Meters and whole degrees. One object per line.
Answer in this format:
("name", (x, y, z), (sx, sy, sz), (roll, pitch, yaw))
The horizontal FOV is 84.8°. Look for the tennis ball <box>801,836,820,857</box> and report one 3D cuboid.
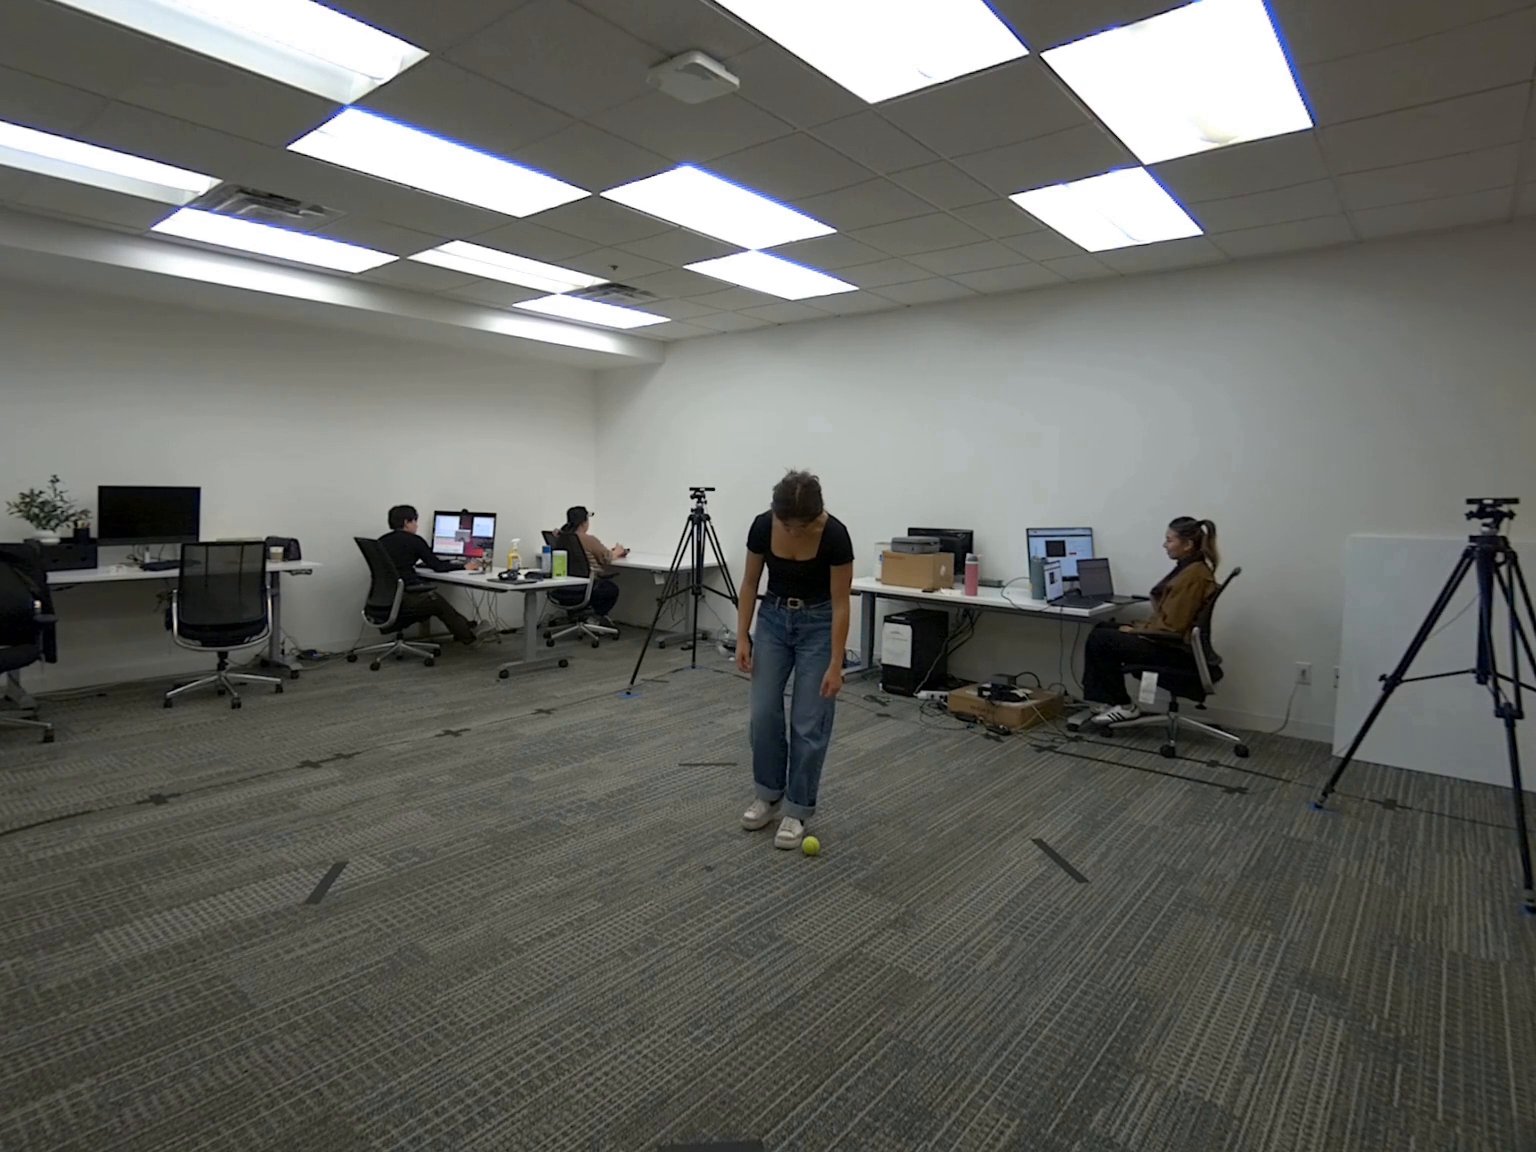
("tennis ball", (0.156, 1.009, 3.254), (0.066, 0.066, 0.067), (1, 4, -2))
